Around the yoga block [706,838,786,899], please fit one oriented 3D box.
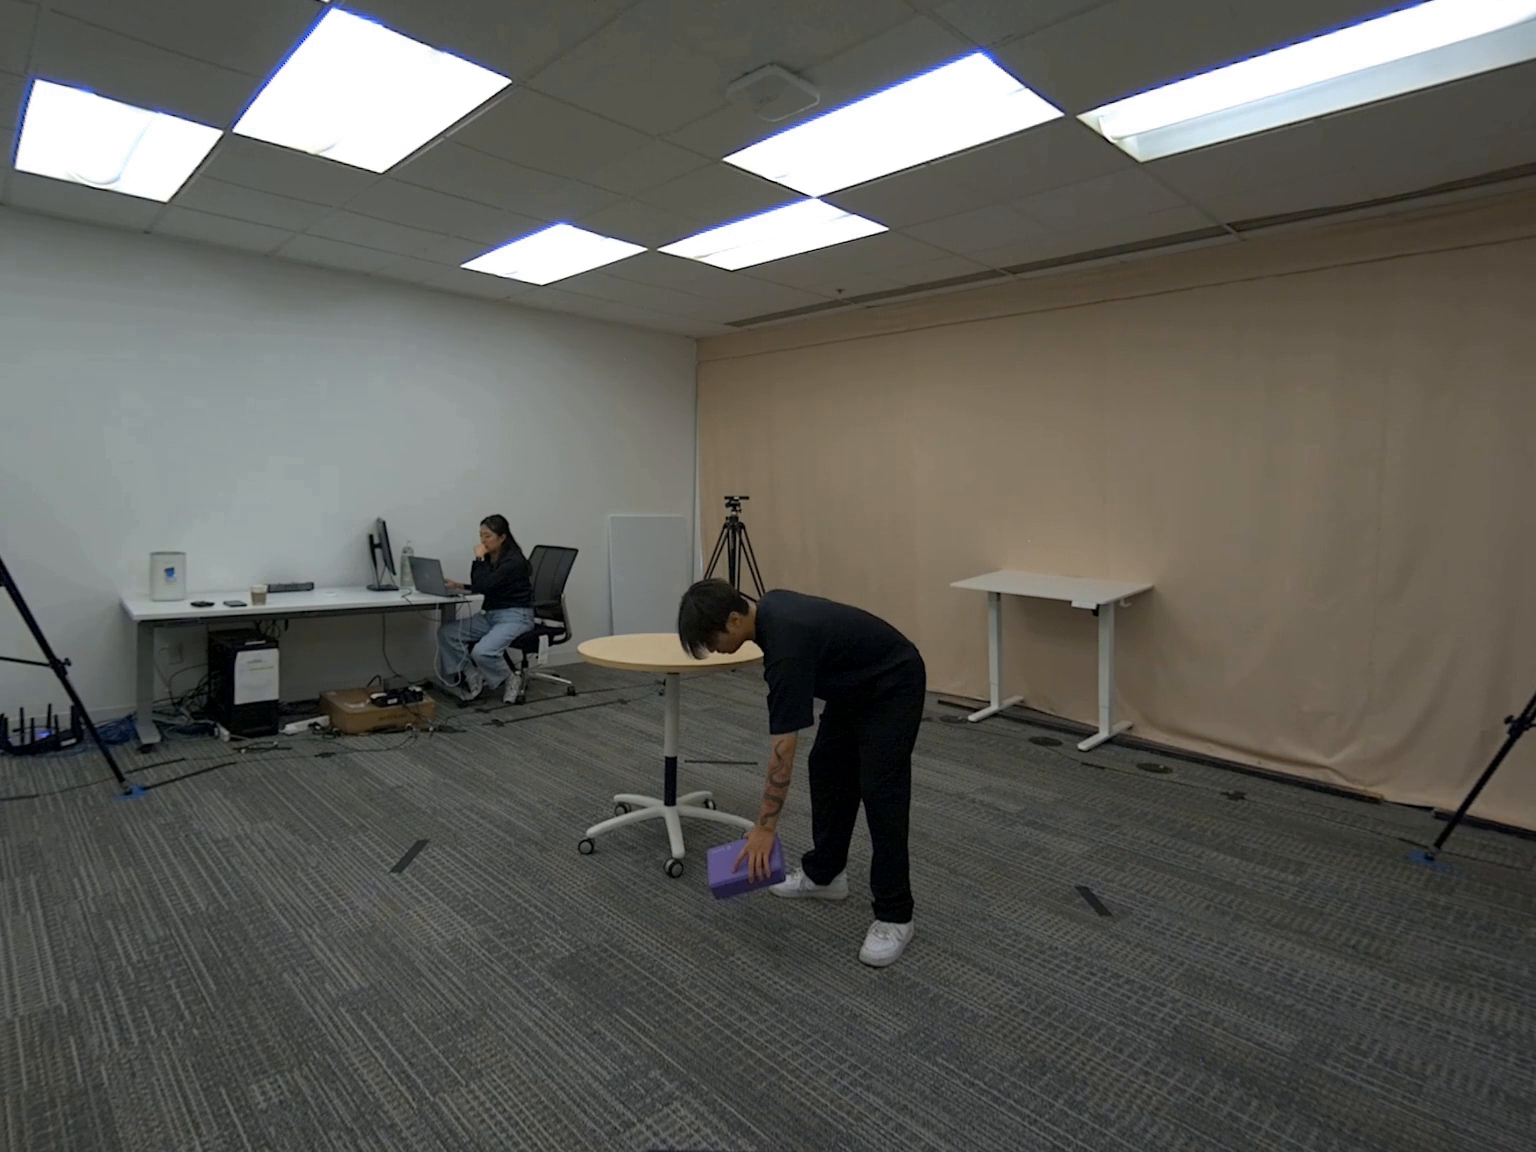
[{"bbox_3d":[-0.074,0.894,2.589,0.230,0.074,0.152,-13,33,5],"label":"yoga block"}]
